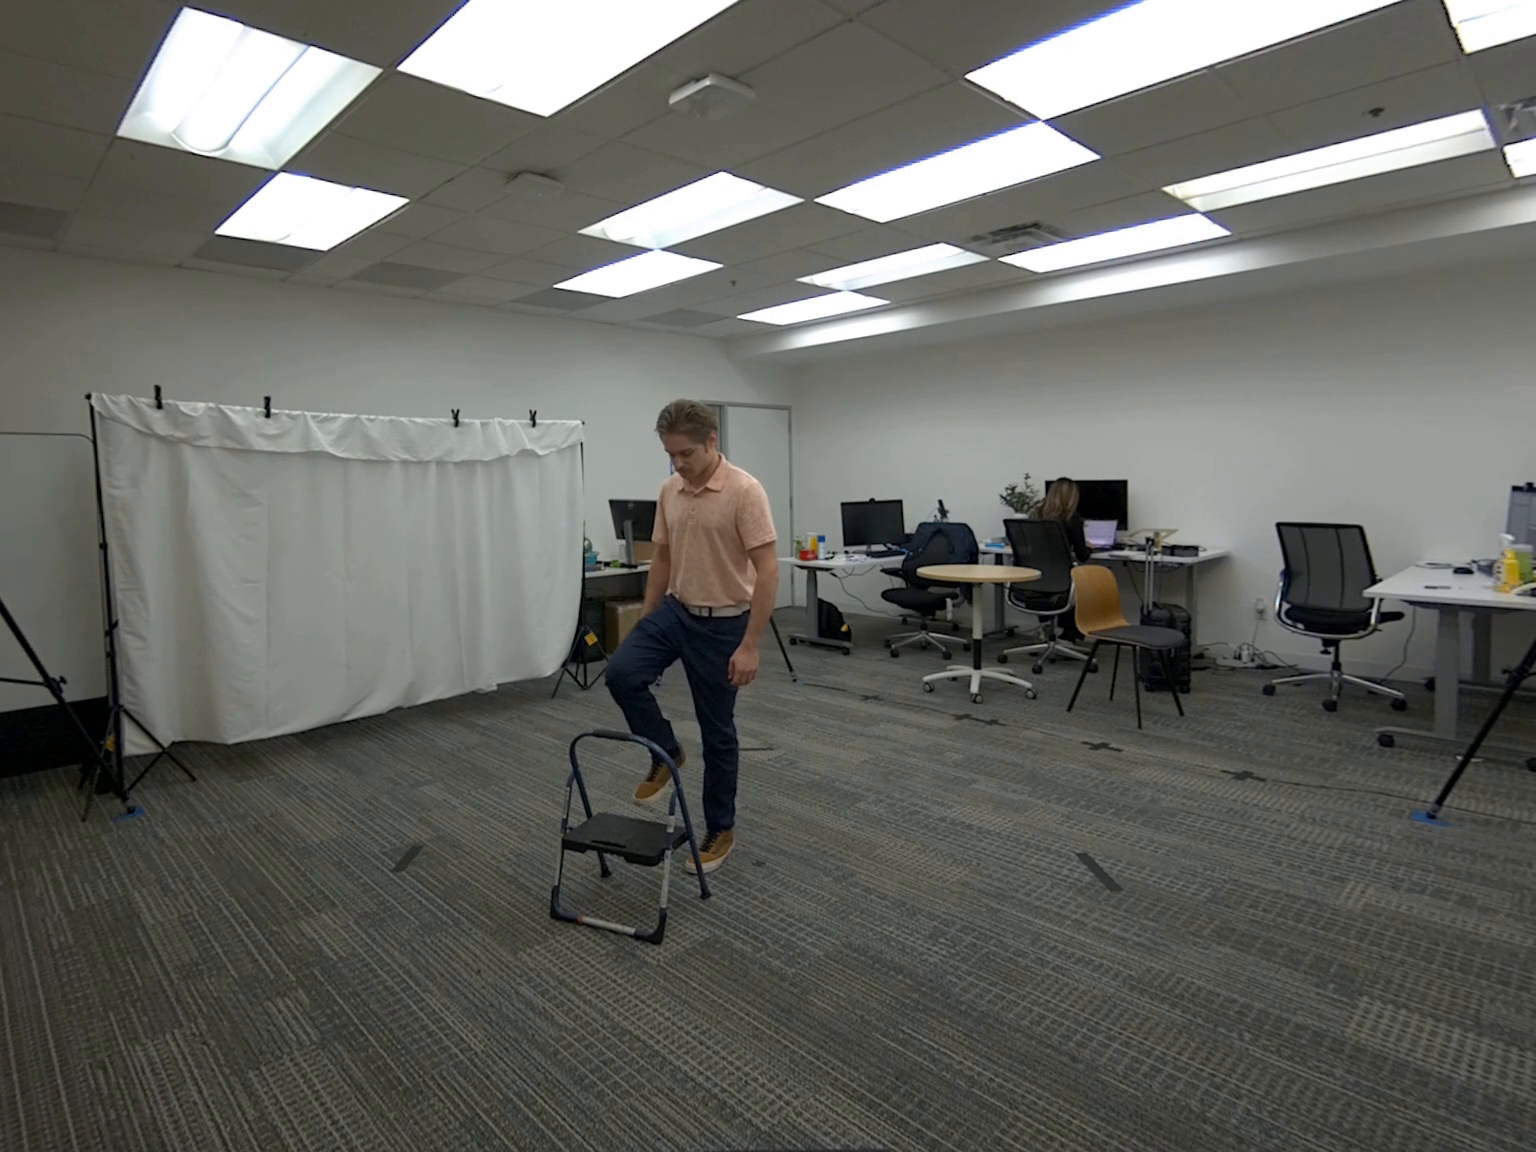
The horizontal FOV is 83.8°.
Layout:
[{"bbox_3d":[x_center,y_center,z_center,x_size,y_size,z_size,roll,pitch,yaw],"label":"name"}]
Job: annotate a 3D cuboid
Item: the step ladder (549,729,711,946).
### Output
[{"bbox_3d":[-0.457,0.787,2.793,0.440,0.603,0.343,1,5,24],"label":"step ladder"}]
